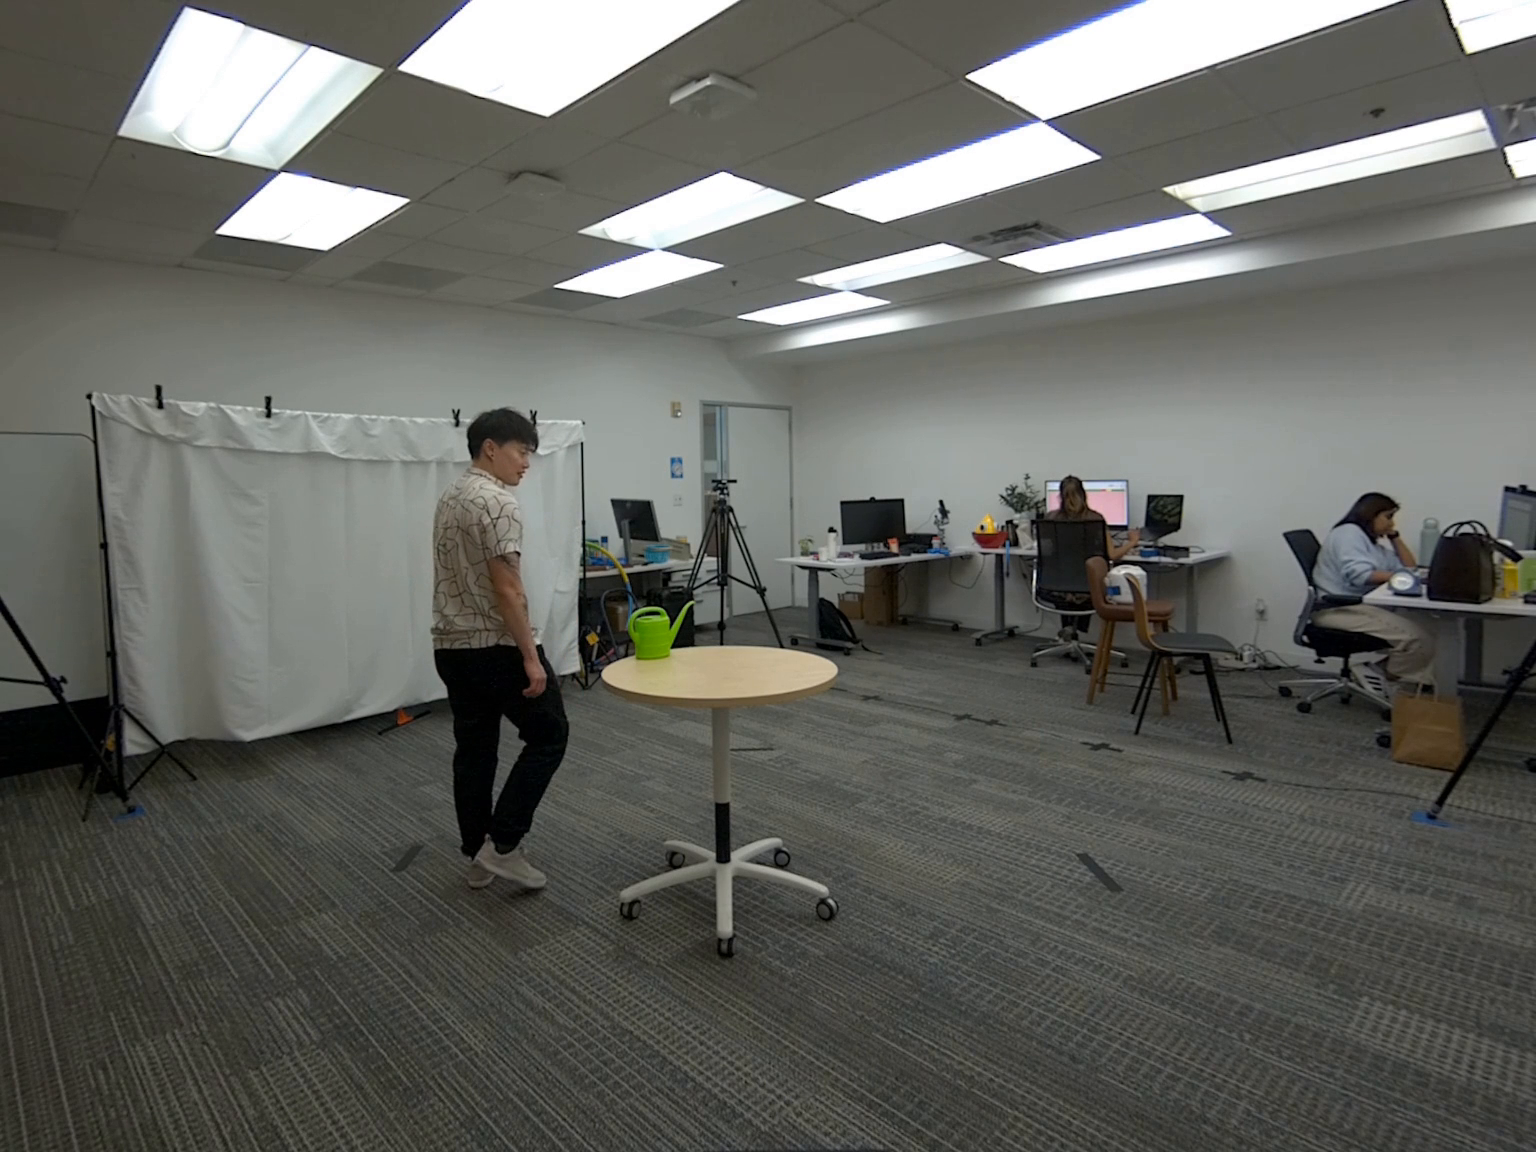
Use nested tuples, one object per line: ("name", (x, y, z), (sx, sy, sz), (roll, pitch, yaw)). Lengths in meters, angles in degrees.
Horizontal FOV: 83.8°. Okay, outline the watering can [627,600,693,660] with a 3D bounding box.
("watering can", (-0.367, 0.193, 3.012), (0.273, 0.175, 0.100), (-6, 8, -25))
